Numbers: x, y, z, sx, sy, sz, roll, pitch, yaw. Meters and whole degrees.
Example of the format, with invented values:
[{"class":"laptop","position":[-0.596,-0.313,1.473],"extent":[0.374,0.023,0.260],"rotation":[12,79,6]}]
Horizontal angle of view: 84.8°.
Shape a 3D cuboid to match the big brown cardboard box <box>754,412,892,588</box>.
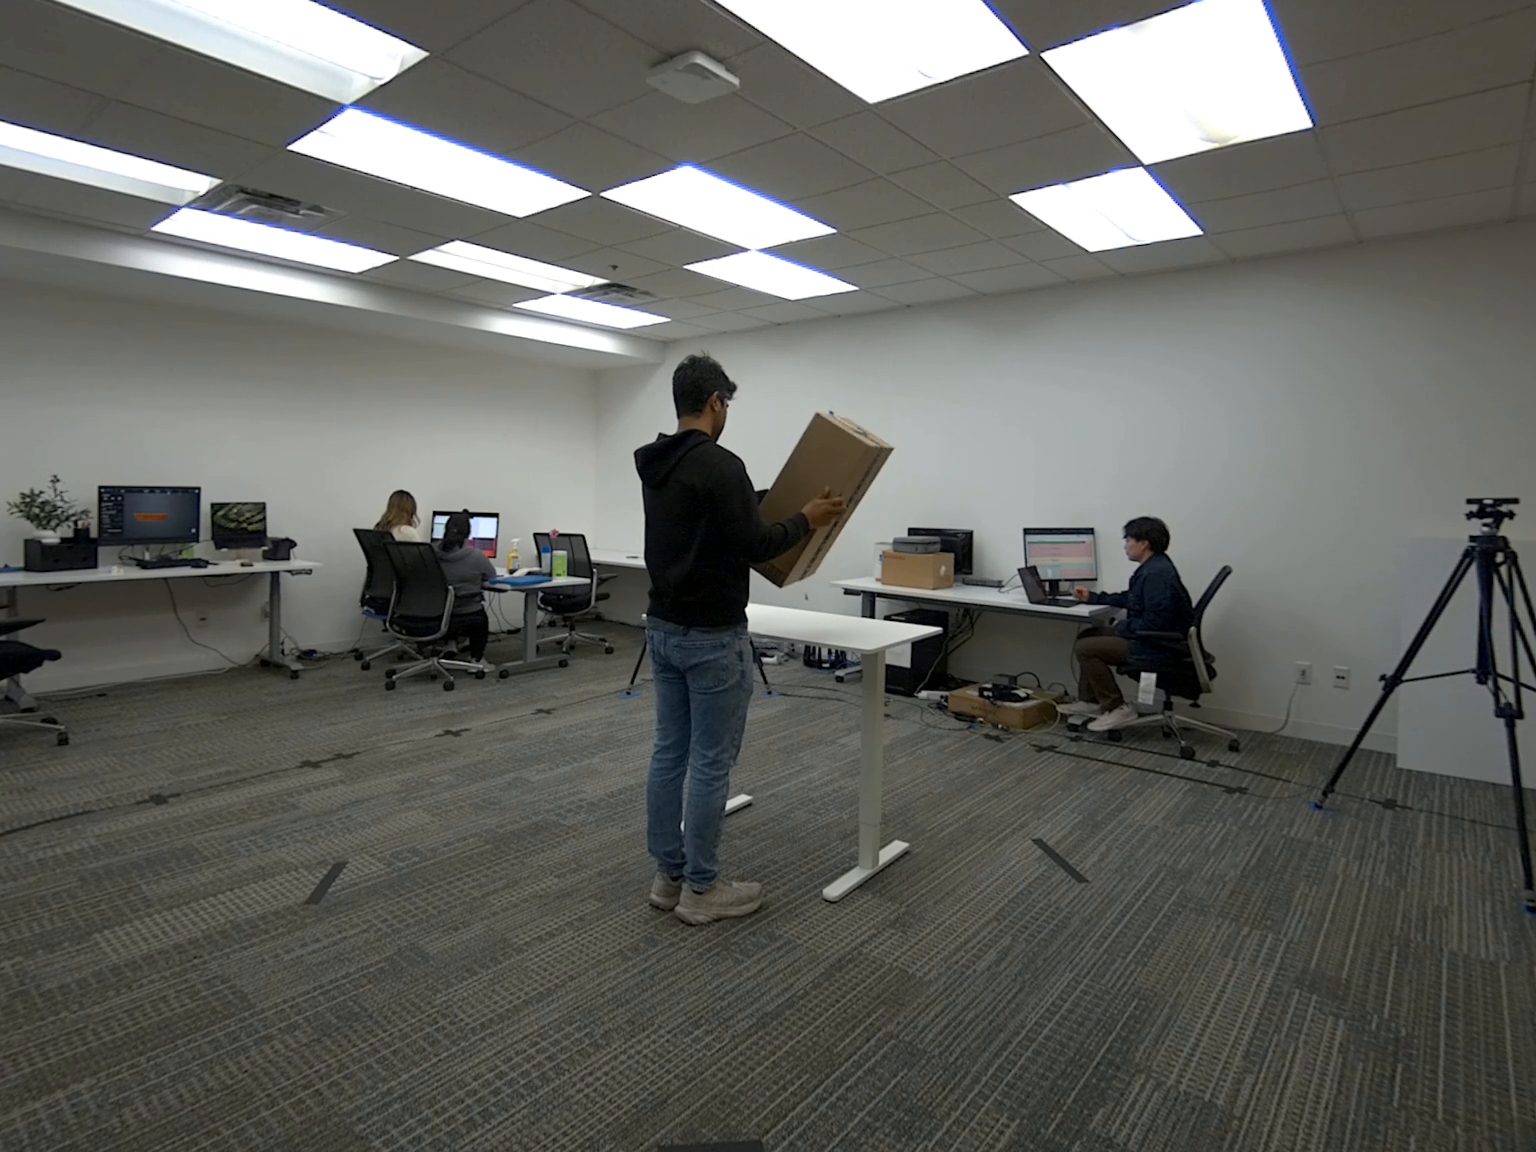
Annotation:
[{"class":"big brown cardboard box","position":[0.152,-0.258,3.013],"extent":[0.238,0.587,0.410],"rotation":[36,15,13]}]
